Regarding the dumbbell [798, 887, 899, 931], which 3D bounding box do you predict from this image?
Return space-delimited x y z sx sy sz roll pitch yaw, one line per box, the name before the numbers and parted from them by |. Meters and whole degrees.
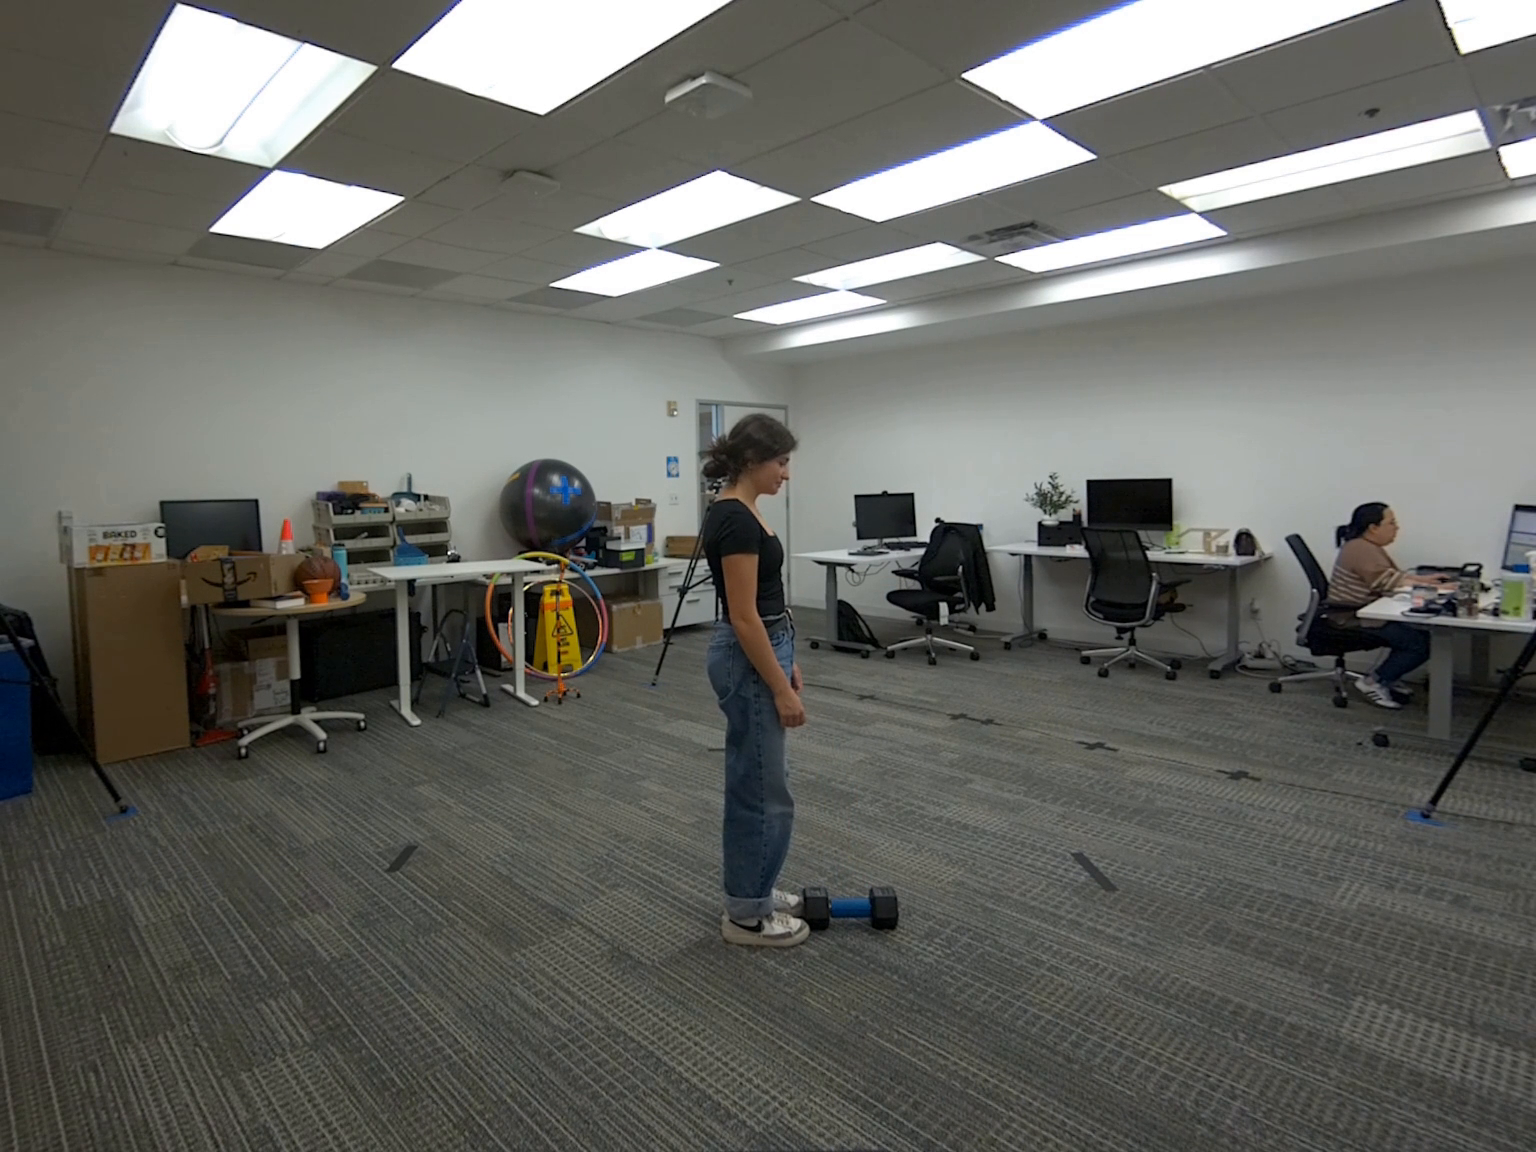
dumbbell | 0.257 1.031 2.664 0.294 0.125 0.106 -1 -25 0
